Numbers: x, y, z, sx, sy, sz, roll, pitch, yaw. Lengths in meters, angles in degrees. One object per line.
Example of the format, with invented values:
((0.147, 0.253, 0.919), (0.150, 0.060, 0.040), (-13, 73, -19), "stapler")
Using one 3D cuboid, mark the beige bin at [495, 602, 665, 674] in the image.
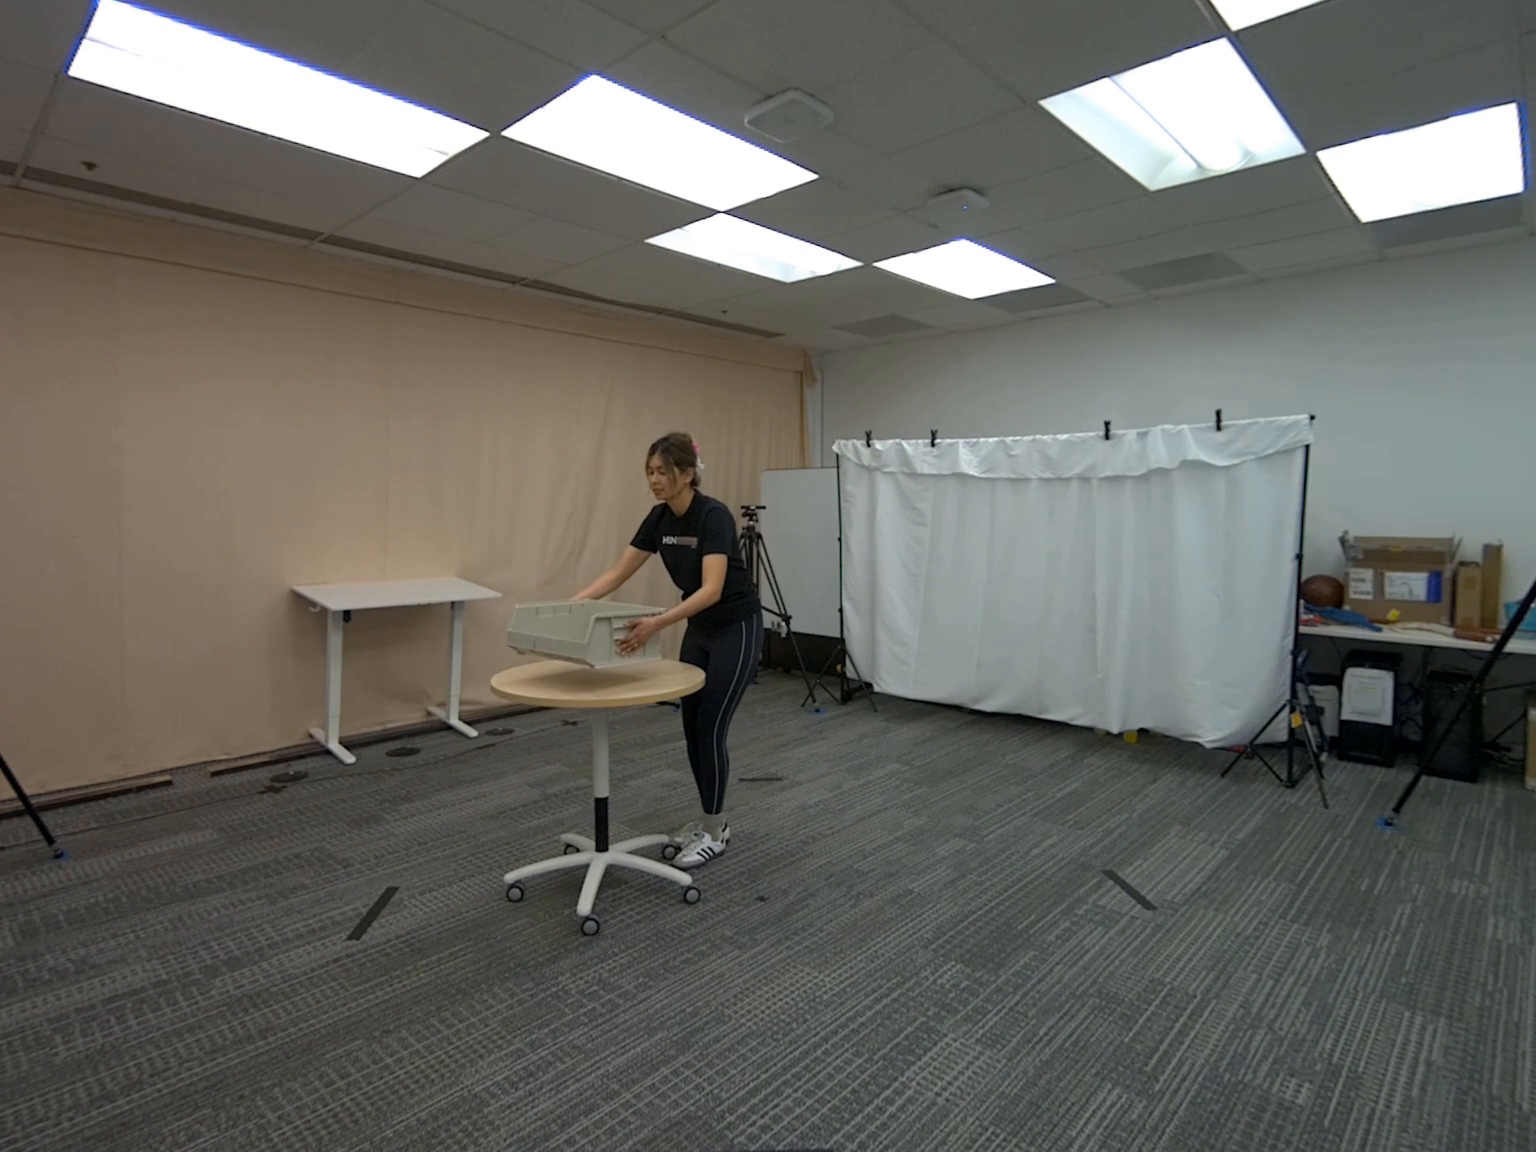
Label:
((-0.646, 0.201, 2.915), (0.435, 0.189, 0.366), (3, 0, 34), "beige bin")
